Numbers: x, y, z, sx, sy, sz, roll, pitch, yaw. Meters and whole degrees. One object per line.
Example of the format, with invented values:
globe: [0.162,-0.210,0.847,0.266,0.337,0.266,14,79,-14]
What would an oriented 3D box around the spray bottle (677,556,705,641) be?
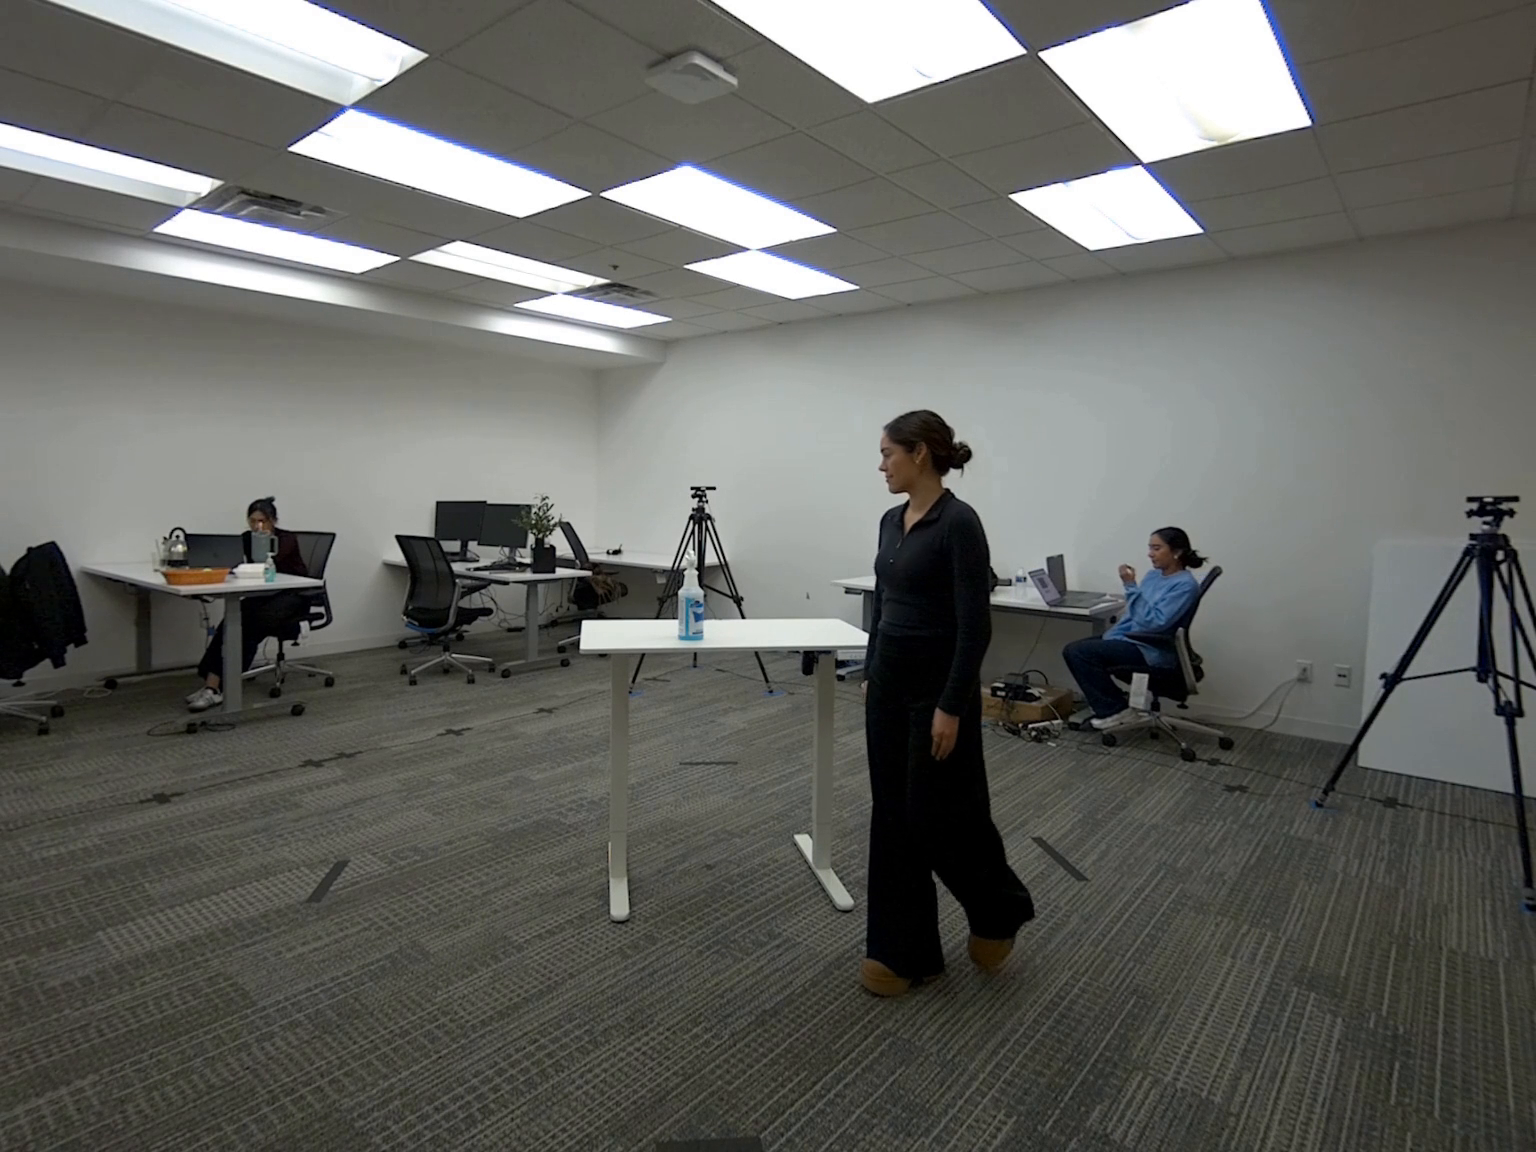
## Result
spray bottle: [-0.268,0.063,2.847,0.088,0.297,0.089,0,0,13]
